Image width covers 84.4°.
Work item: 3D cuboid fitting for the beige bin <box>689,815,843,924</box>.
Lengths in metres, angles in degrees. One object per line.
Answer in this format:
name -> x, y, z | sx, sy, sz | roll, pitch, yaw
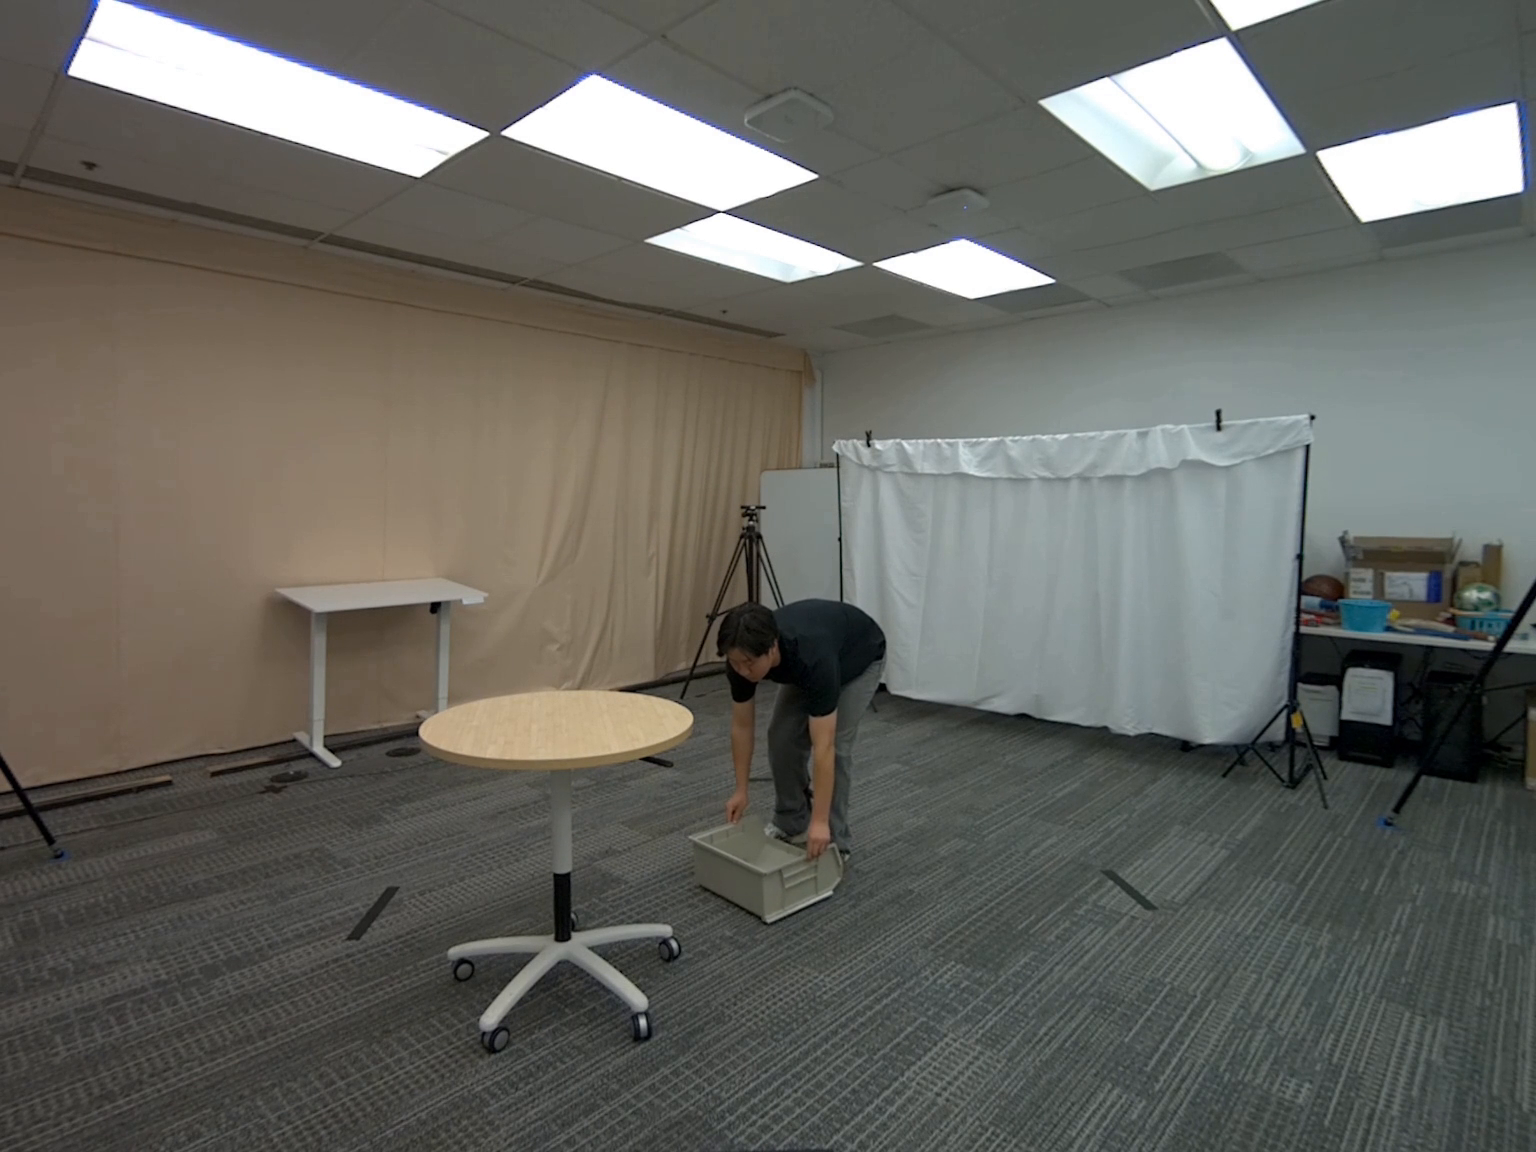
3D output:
beige bin -> -0.009, 1.039, 3.050 | 0.366, 0.188, 0.436 | -7, 7, -41
